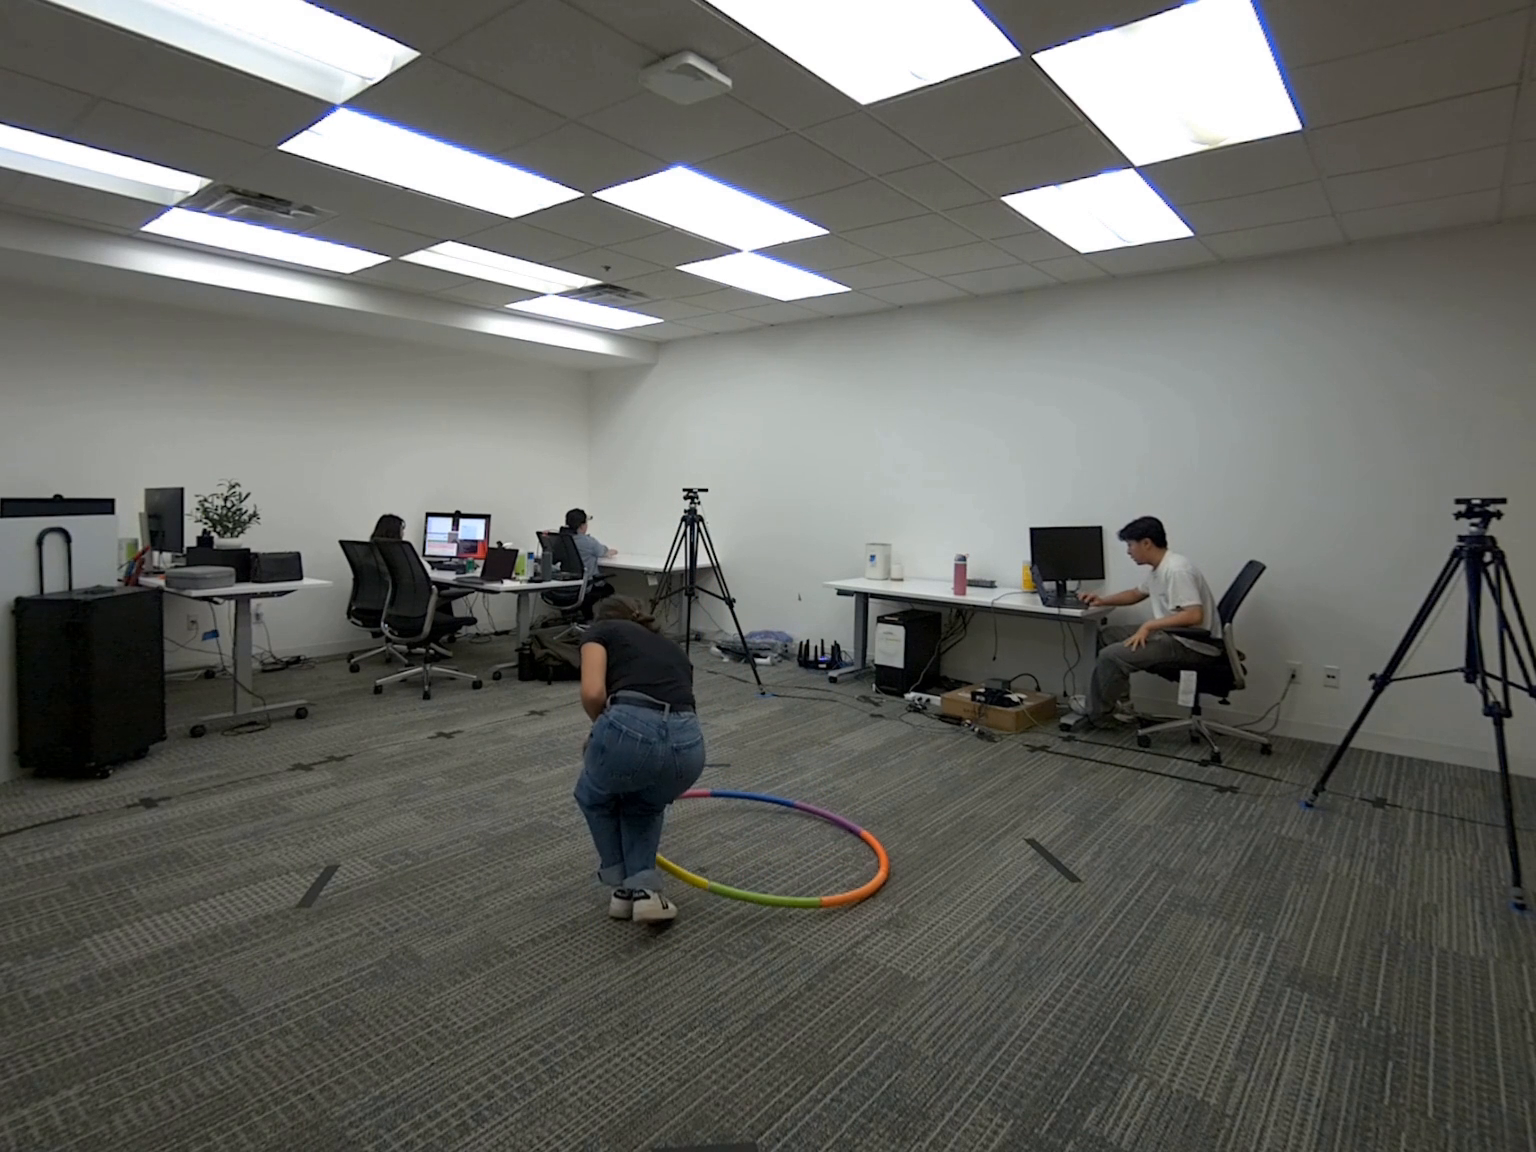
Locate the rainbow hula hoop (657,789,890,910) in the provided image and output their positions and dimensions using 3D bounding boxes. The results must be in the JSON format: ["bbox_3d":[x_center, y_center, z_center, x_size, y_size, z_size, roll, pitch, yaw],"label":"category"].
[{"bbox_3d":[-0.034,0.979,3.230,0.977,0.035,0.983,7,4,-2],"label":"rainbow hula hoop"}]
